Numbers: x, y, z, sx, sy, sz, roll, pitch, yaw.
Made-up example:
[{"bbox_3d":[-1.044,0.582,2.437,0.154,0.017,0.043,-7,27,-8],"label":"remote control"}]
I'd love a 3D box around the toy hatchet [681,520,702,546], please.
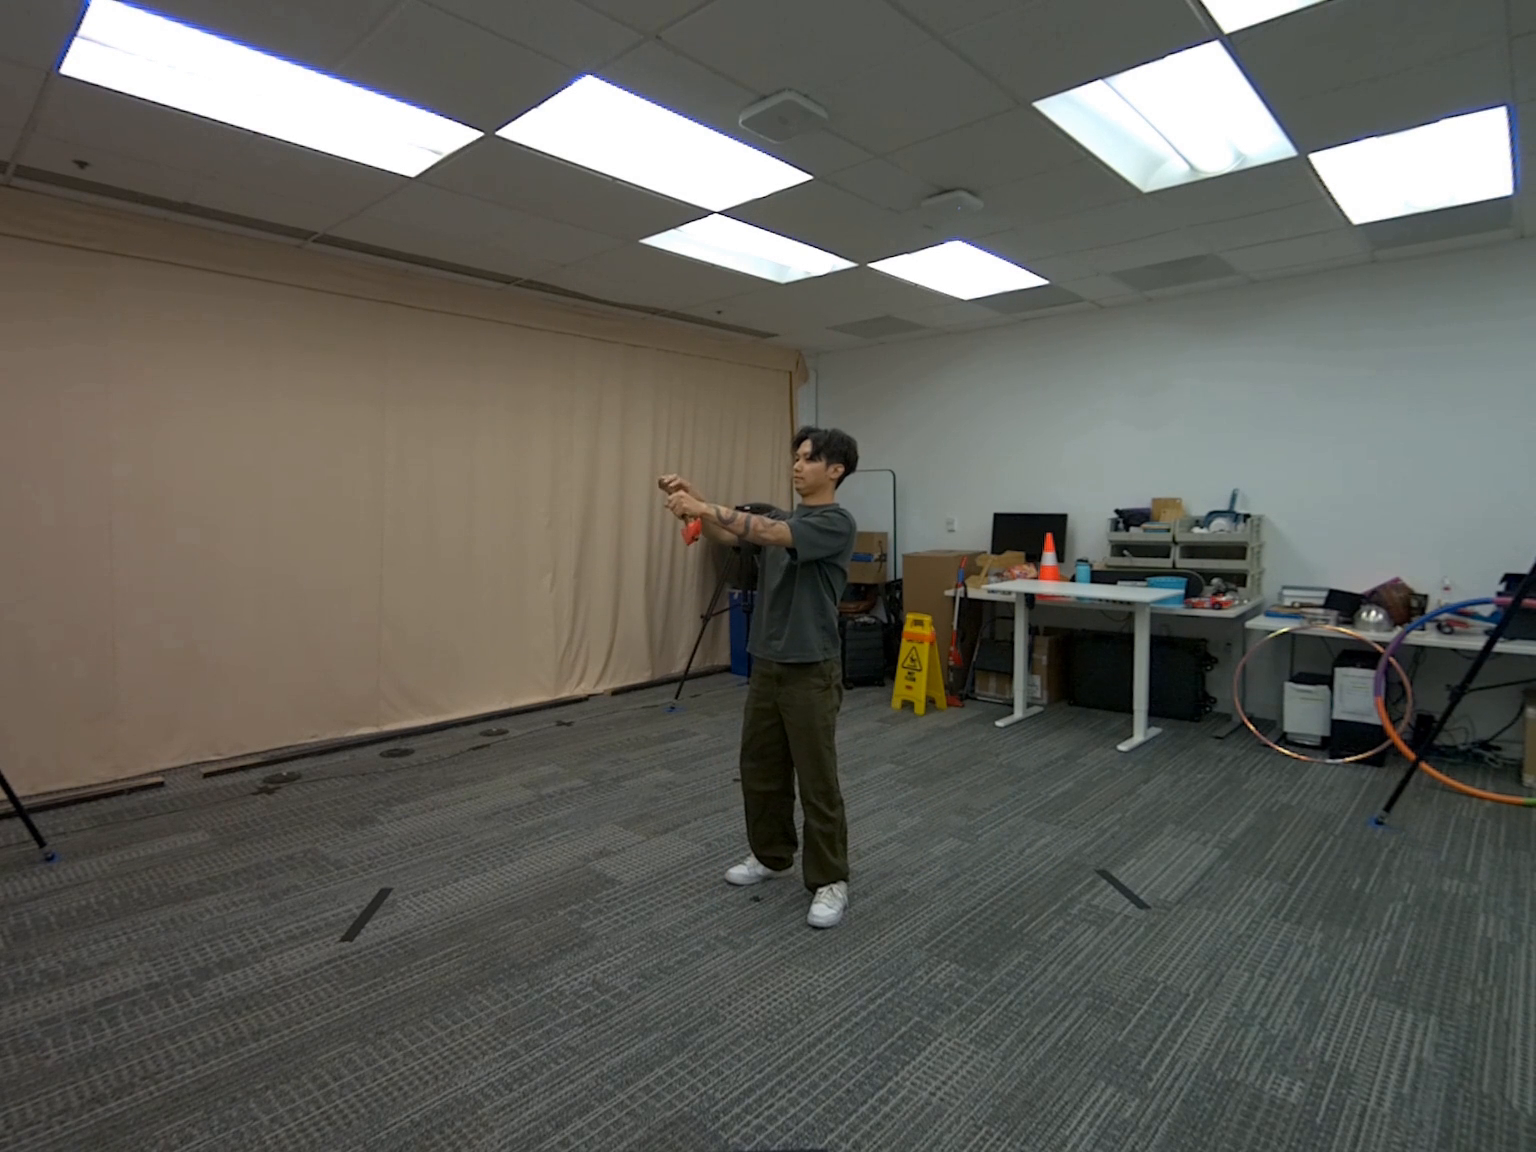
[{"bbox_3d":[-0.284,-0.193,2.743,0.029,0.129,0.279,-7,34,-28],"label":"toy hatchet"}]
